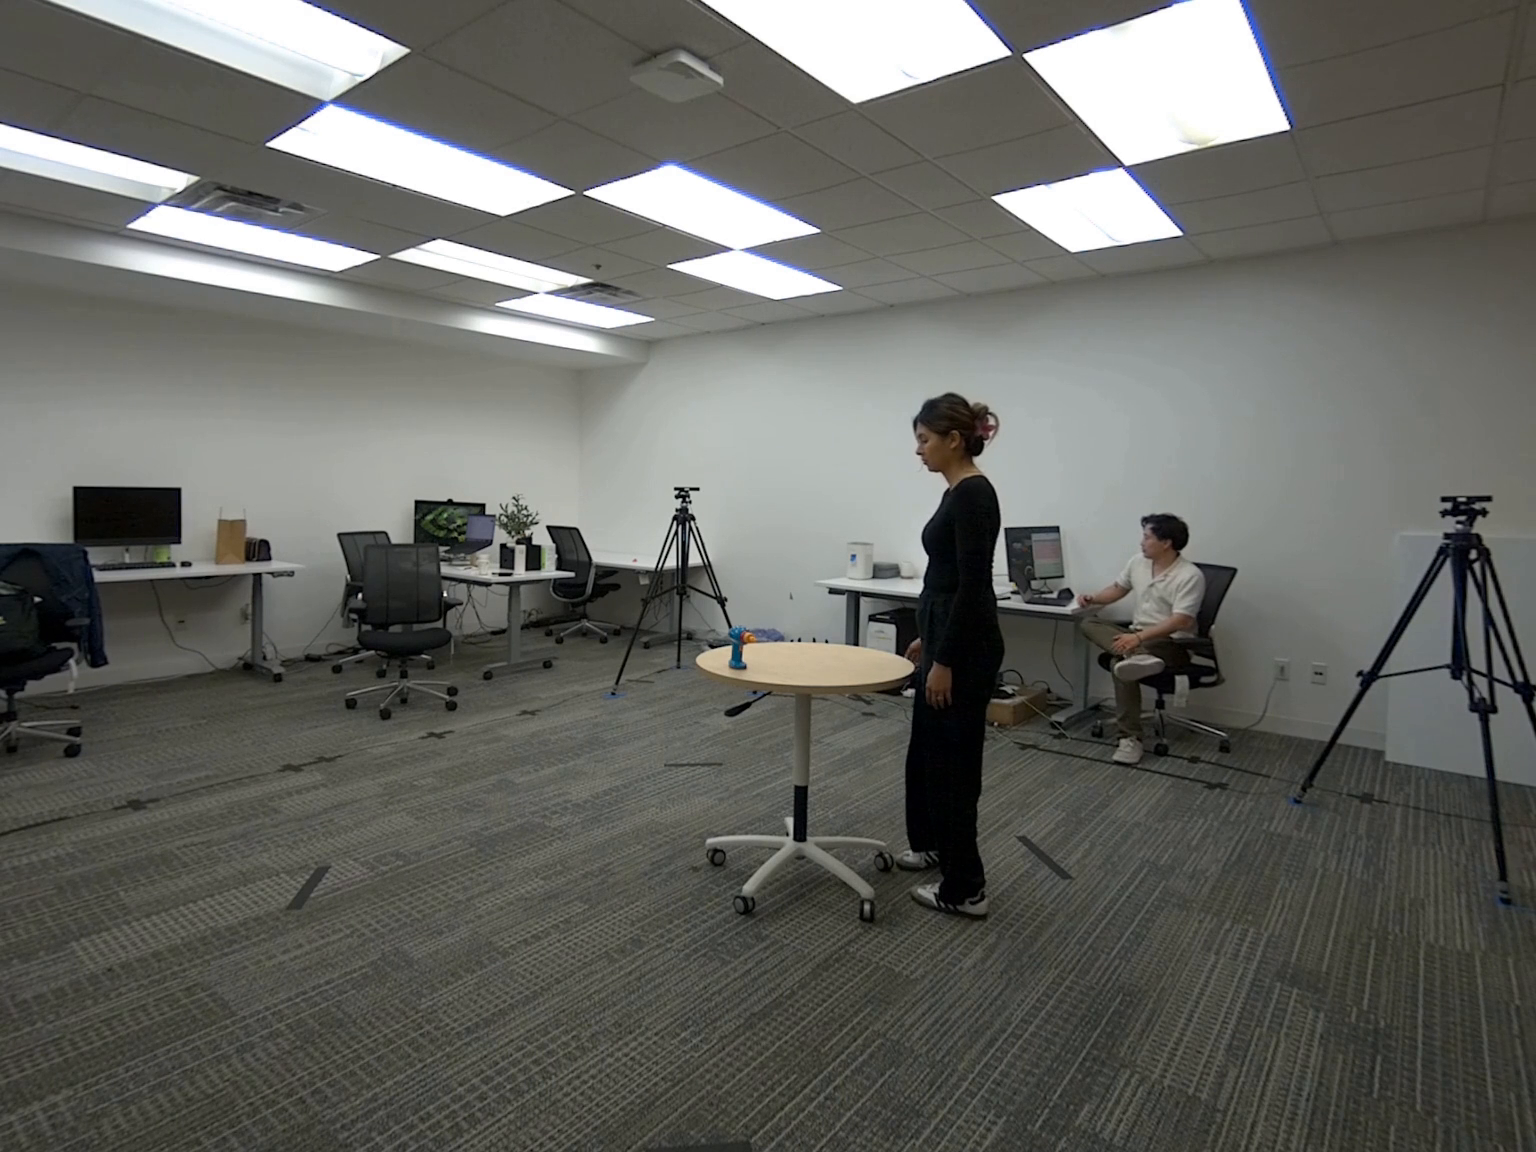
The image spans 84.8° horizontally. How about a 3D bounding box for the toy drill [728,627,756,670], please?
[{"bbox_3d":[-0.091,0.240,2.849,0.059,0.146,0.175,1,3,-33],"label":"toy drill"}]
